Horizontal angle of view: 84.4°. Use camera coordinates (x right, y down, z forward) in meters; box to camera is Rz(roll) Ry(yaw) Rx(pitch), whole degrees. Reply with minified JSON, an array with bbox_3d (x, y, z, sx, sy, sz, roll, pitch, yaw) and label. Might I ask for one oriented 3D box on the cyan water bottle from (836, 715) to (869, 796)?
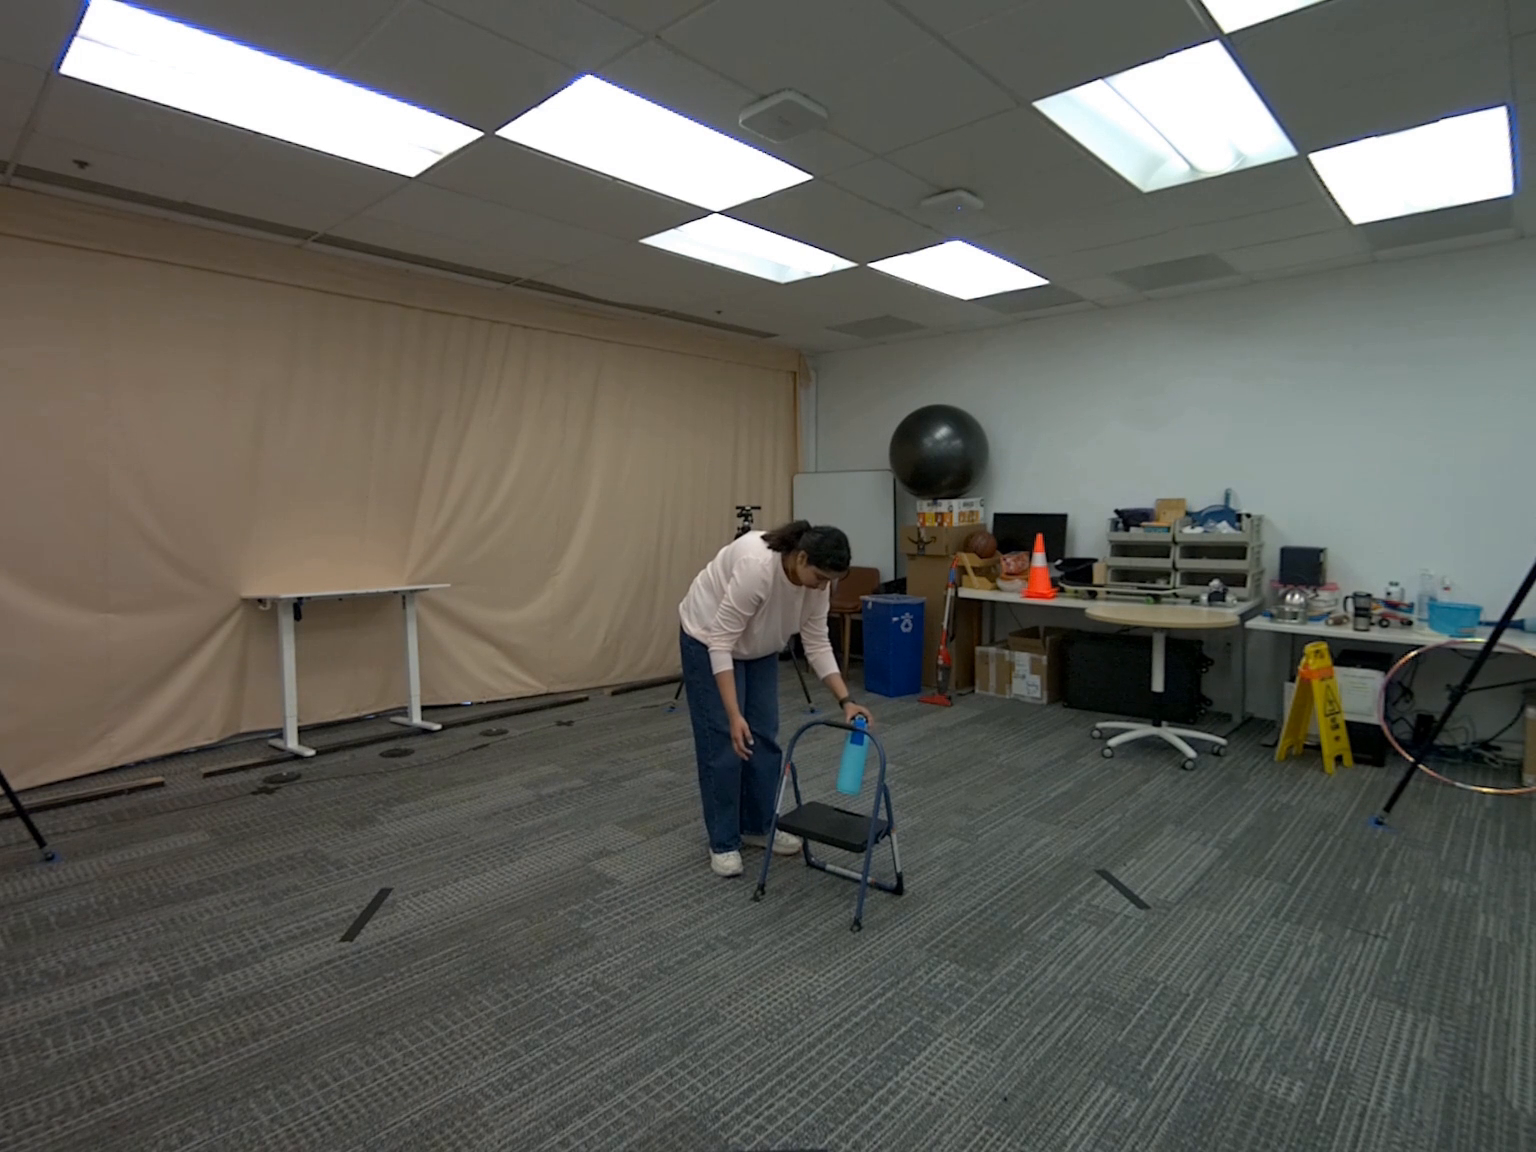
[{"bbox_3d":[0.317,0.659,3.076,0.092,0.284,0.092,10,-9,0],"label":"cyan water bottle"}]
